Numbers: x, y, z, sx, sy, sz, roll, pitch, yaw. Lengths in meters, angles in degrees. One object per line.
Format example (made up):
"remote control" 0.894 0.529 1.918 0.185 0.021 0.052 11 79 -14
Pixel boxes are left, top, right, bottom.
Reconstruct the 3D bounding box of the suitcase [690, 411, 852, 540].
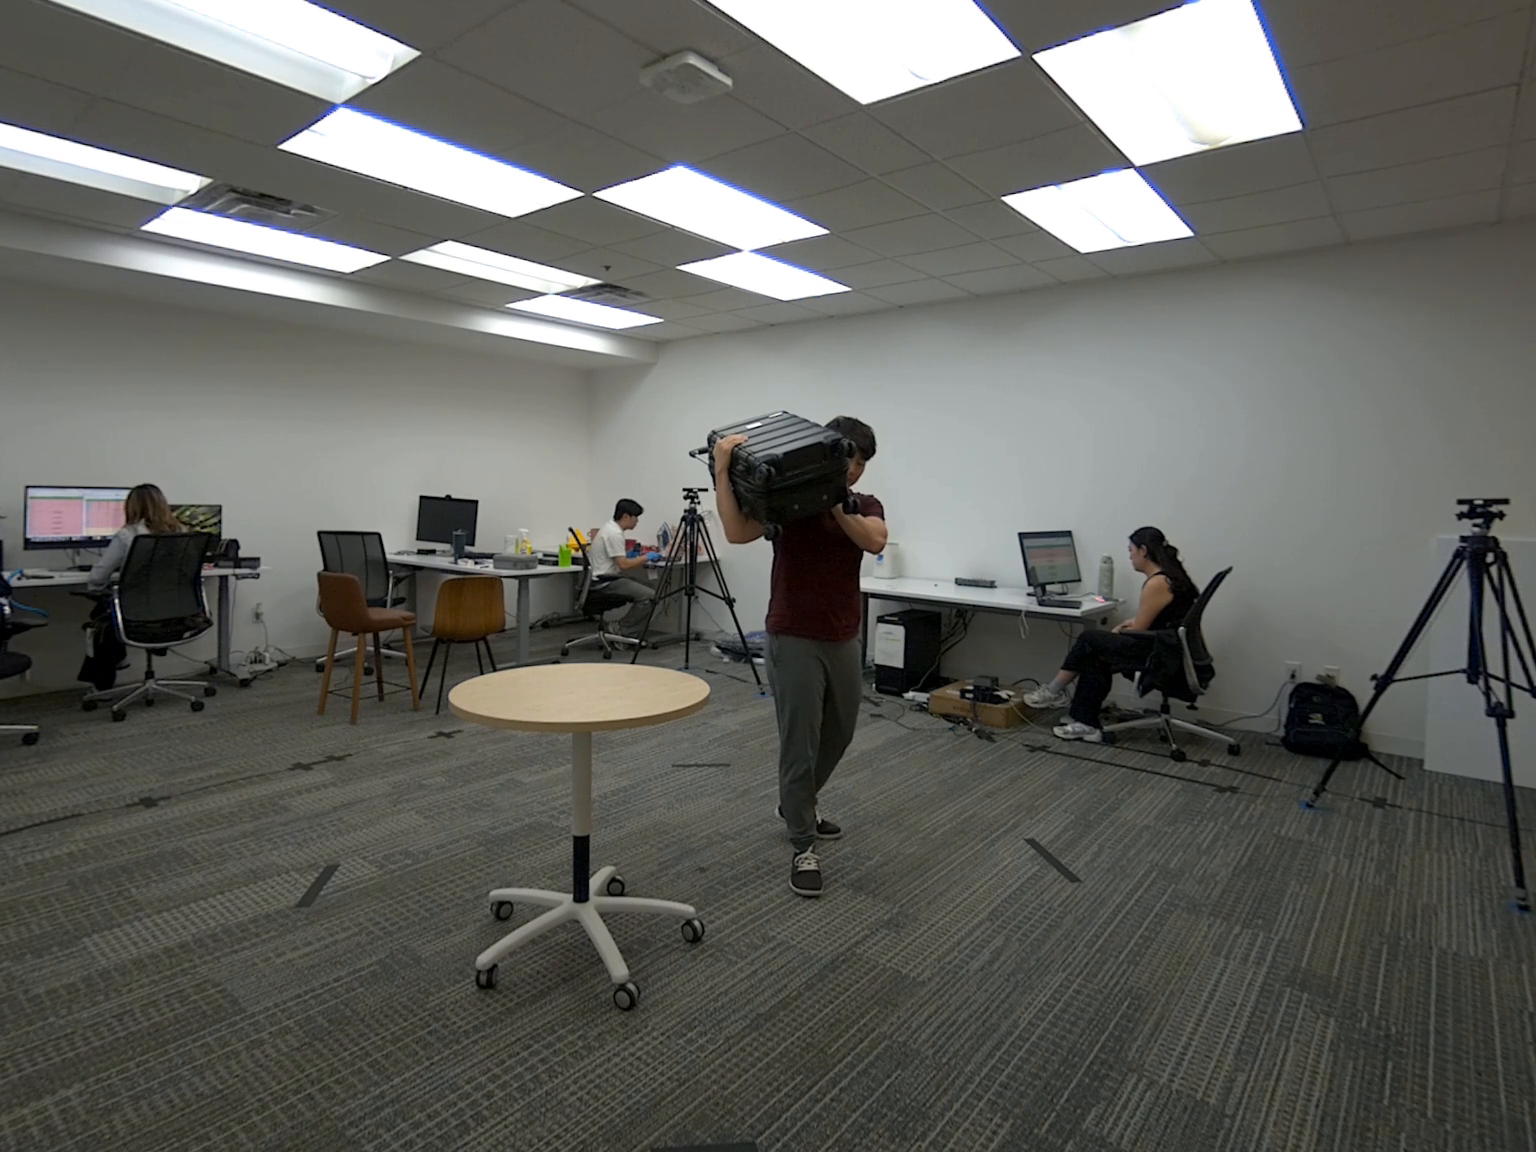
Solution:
"suitcase" -0.067 -0.462 3.125 0.379 0.250 1.016 -19 28 -18
